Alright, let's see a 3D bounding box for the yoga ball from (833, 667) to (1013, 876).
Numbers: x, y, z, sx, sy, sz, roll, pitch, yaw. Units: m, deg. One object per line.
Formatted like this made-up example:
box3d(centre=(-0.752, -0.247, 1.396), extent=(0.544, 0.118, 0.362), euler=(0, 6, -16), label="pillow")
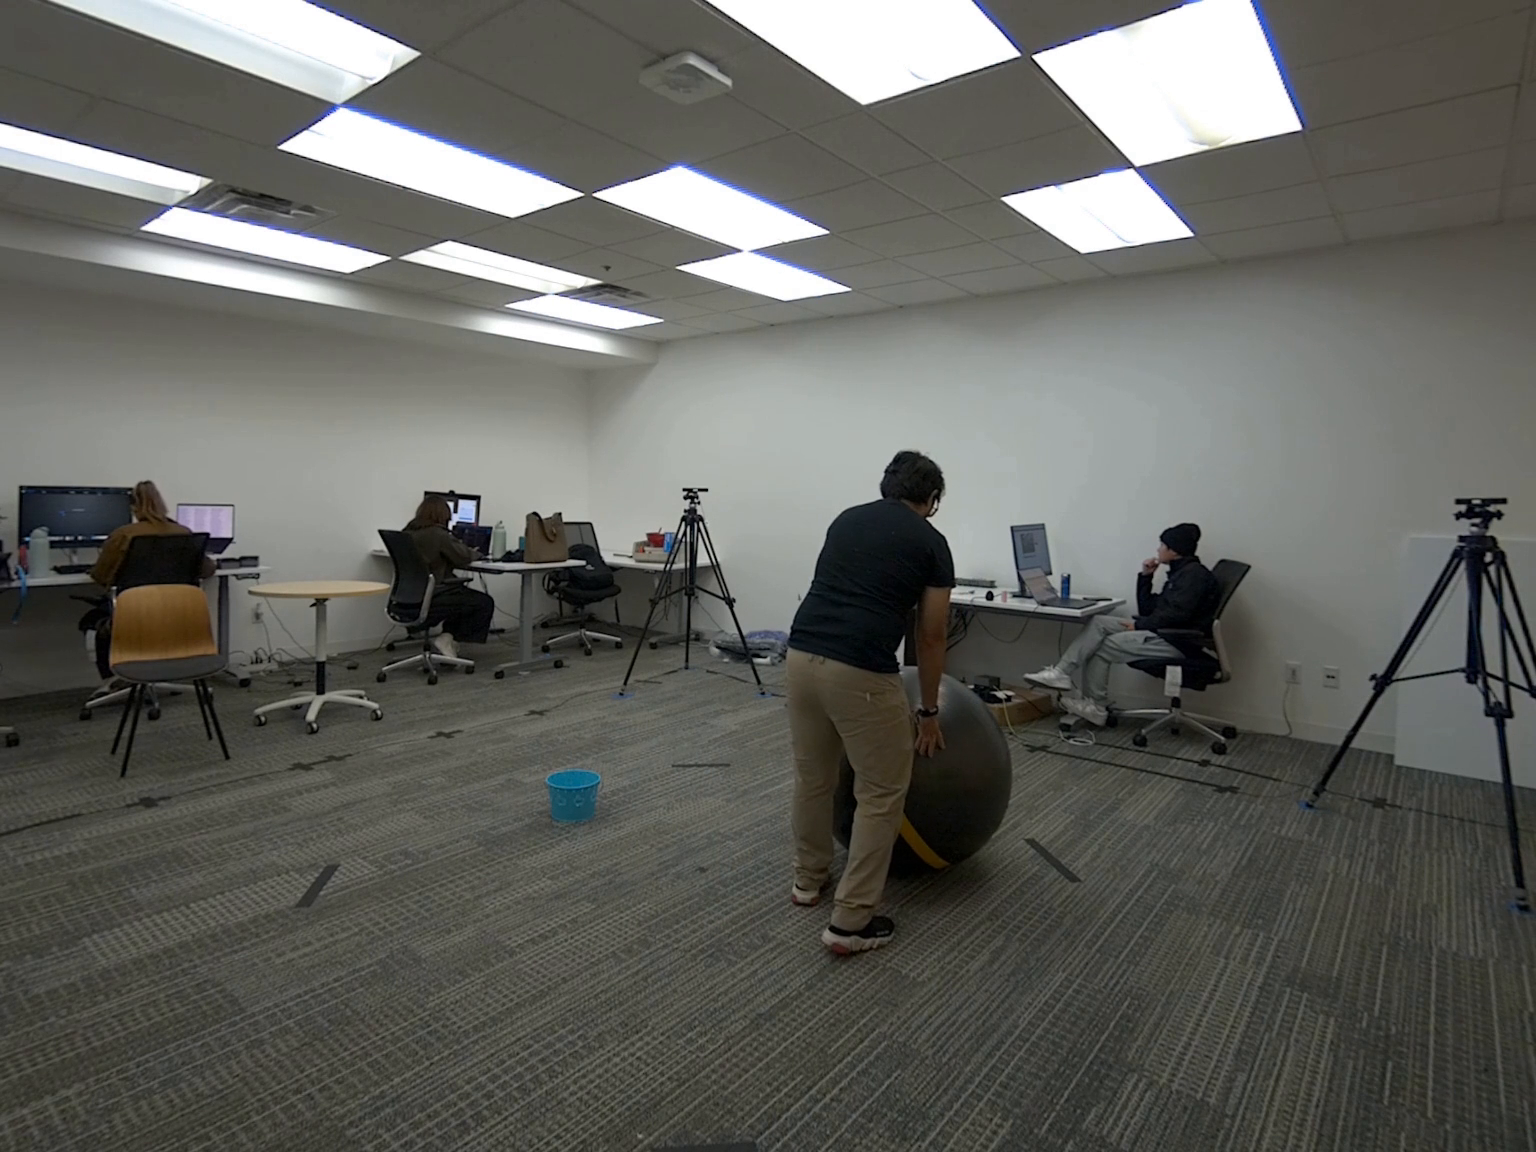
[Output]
box3d(centre=(0.523, 0.721, 3.225), extent=(0.757, 0.755, 0.762), euler=(1, 4, -2), label="yoga ball")
